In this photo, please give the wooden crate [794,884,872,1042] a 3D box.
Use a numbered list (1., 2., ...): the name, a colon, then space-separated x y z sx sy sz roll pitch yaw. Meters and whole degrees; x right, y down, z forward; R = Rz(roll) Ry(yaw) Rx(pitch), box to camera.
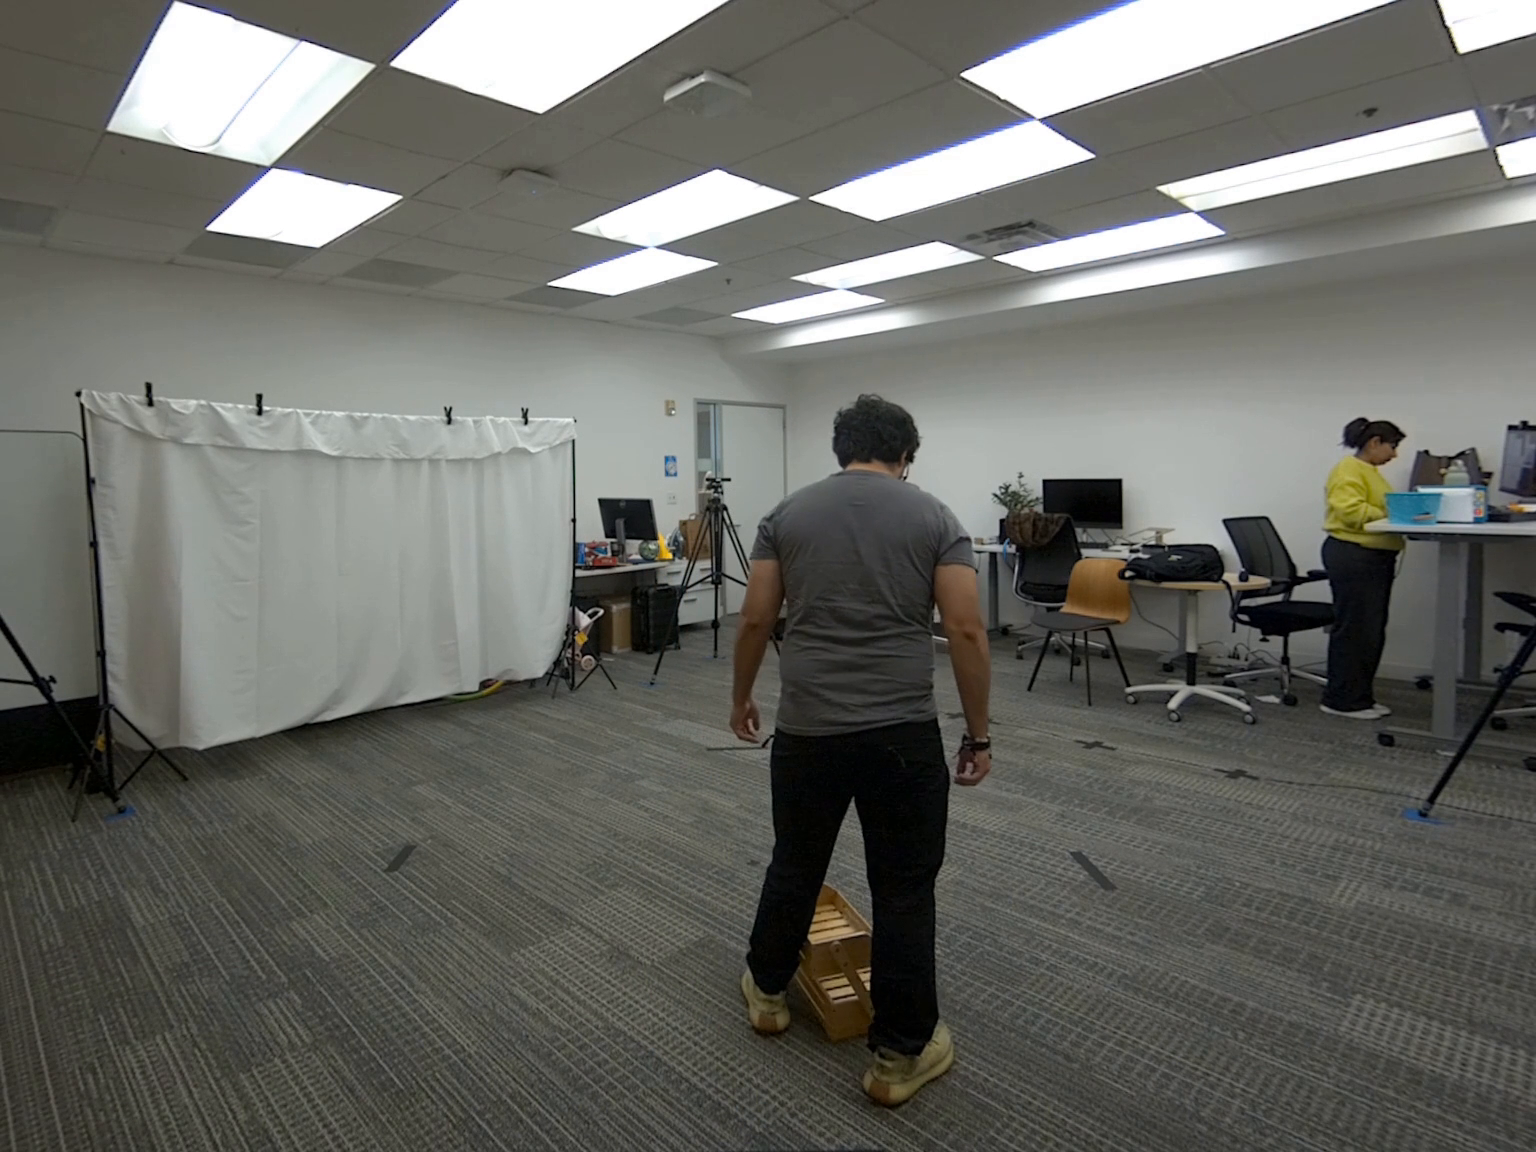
1. wooden crate: 0.210 1.001 2.284 0.297 0.272 0.331 -4 6 -19
